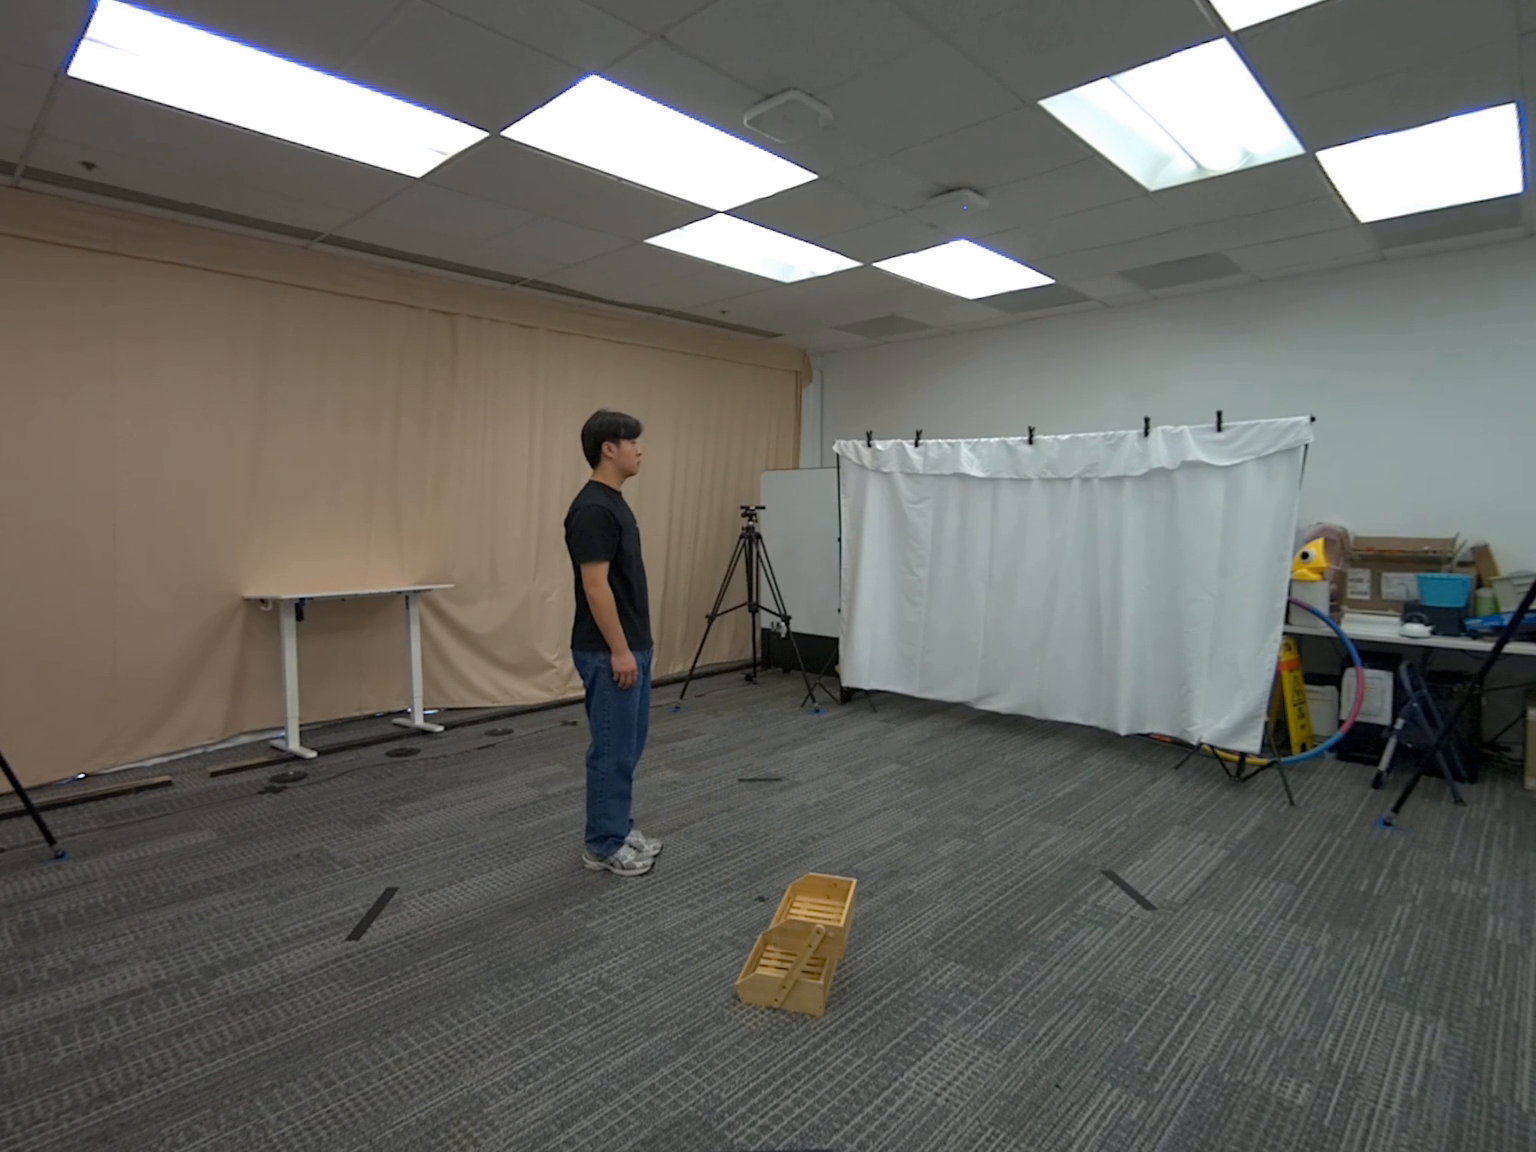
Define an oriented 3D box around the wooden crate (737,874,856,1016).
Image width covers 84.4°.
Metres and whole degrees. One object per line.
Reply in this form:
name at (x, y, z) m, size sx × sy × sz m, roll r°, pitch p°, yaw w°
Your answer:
wooden crate at (0.090, 1.054, 2.455) m, size 0.307 × 0.273 × 0.320 m, roll 2°, pitch 4°, yaw 14°
